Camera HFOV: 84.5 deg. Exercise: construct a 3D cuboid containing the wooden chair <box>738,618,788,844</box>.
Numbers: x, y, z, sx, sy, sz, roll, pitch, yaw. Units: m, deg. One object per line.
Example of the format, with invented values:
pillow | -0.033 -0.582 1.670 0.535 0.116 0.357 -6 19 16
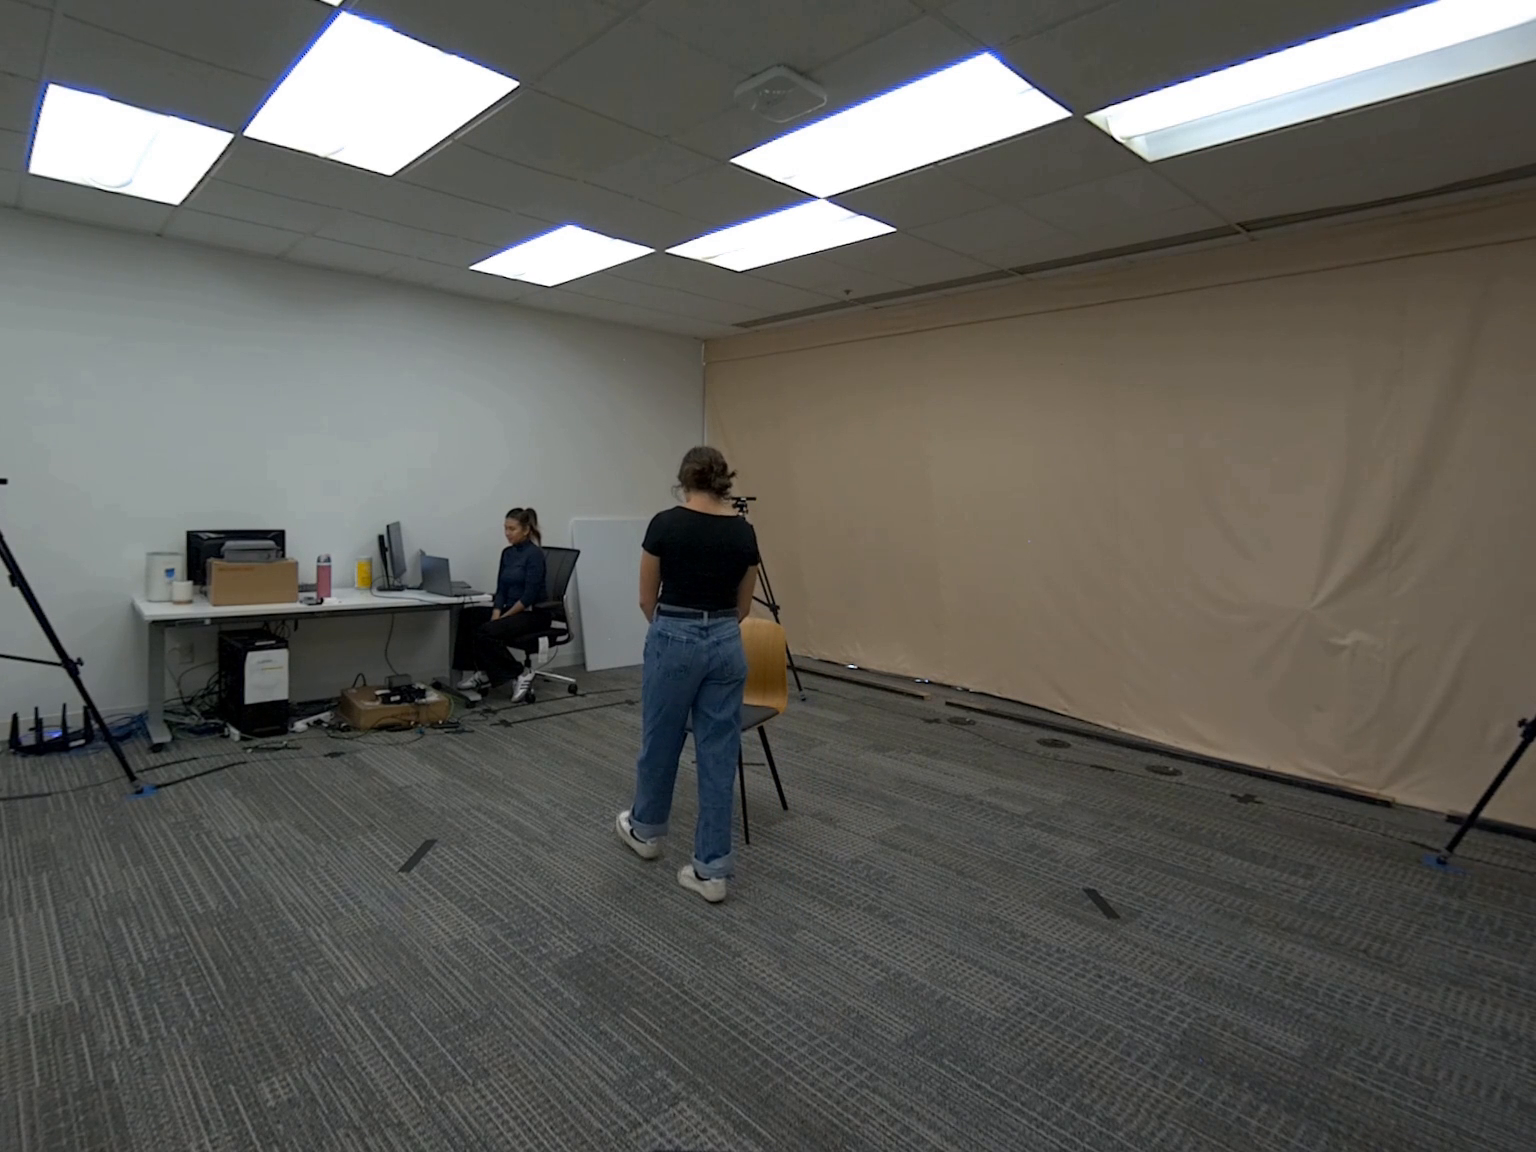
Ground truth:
wooden chair | -0.196 0.634 3.645 0.487 0.878 0.513 3 -1 24
